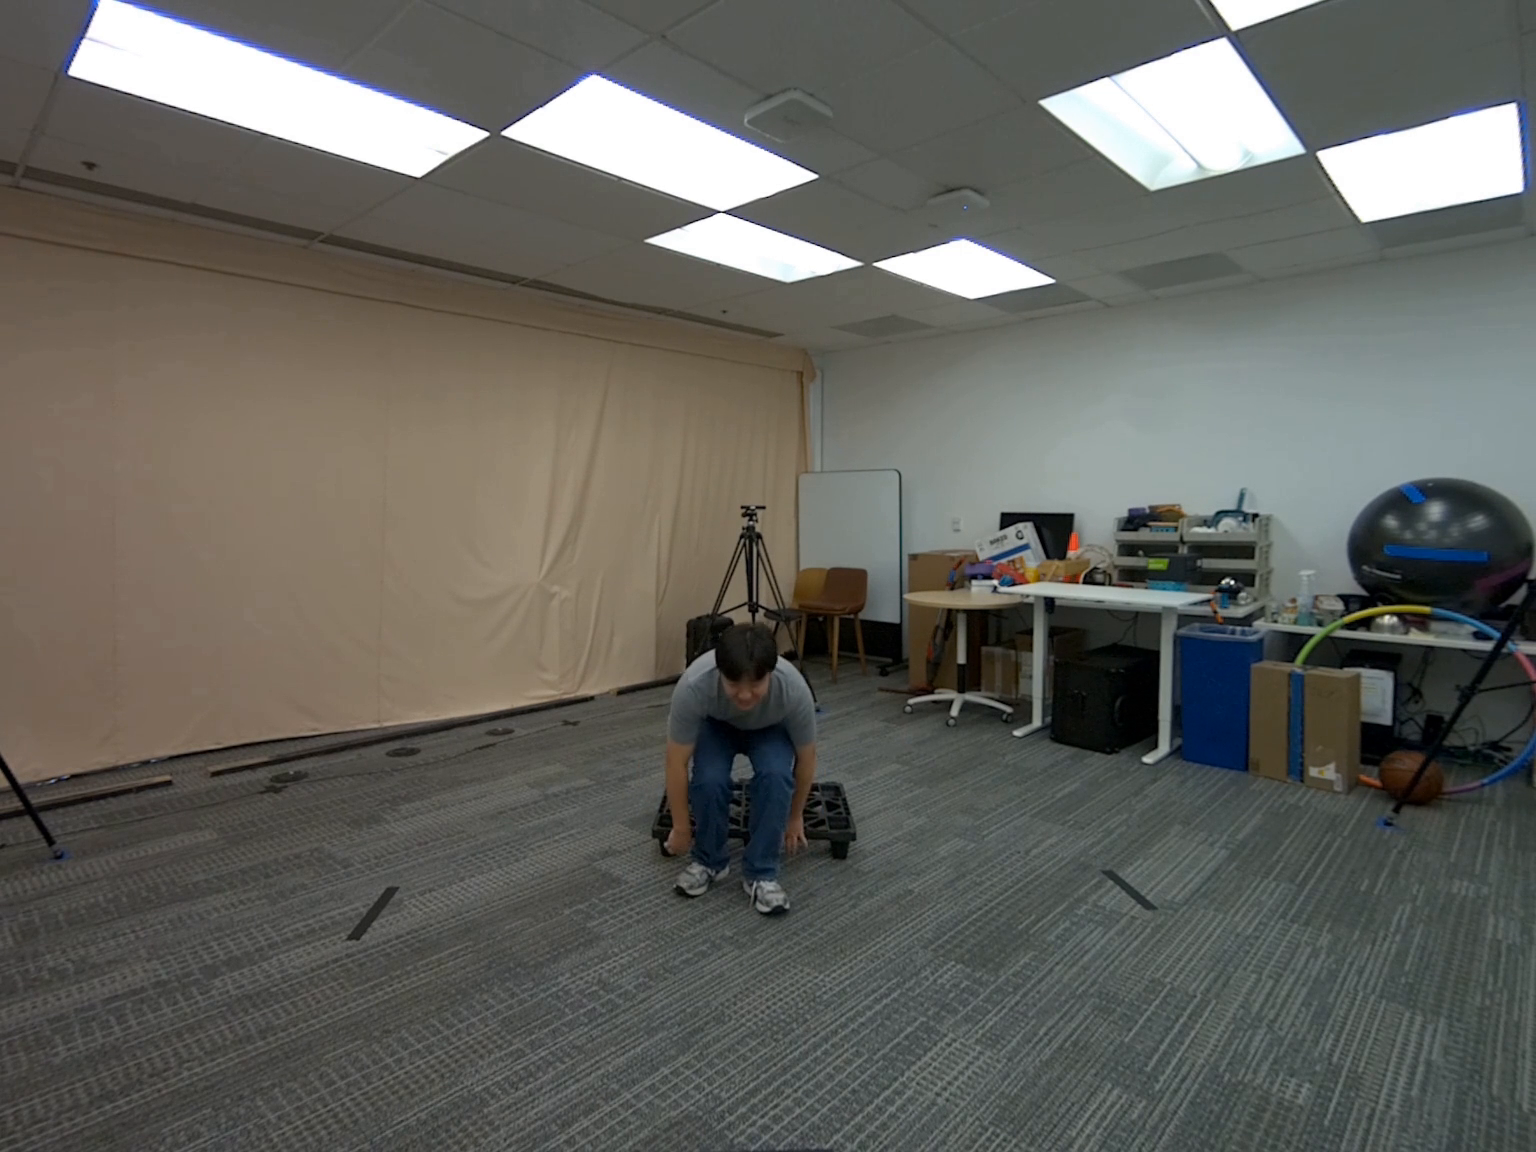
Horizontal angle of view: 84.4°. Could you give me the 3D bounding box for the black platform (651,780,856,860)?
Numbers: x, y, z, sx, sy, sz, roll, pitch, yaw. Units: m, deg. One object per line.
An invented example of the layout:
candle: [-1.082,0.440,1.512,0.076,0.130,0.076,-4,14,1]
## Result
black platform: [-0.053,1.025,3.552,0.808,0.143,0.605,0,5,2]
